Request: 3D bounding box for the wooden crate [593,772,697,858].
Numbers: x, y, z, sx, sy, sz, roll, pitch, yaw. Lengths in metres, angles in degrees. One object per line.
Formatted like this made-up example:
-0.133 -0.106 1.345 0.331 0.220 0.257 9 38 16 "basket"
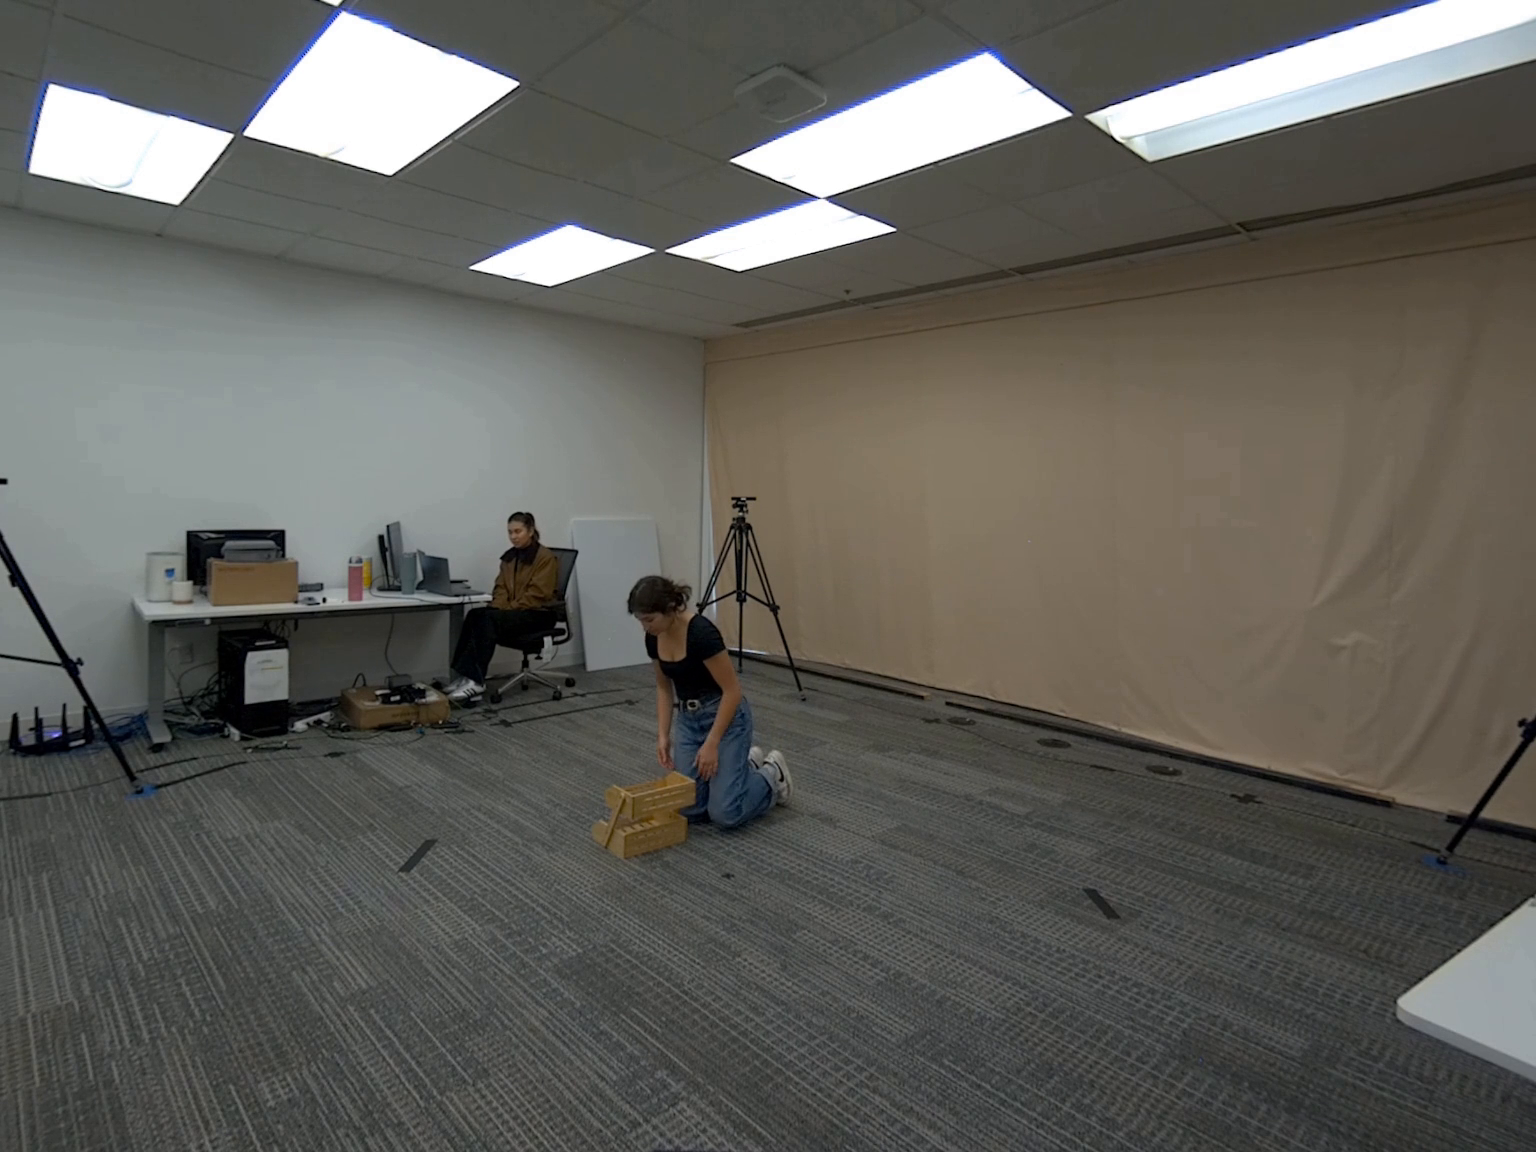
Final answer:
-0.512 0.939 3.390 0.317 0.272 0.310 -2 6 -40 "wooden crate"
